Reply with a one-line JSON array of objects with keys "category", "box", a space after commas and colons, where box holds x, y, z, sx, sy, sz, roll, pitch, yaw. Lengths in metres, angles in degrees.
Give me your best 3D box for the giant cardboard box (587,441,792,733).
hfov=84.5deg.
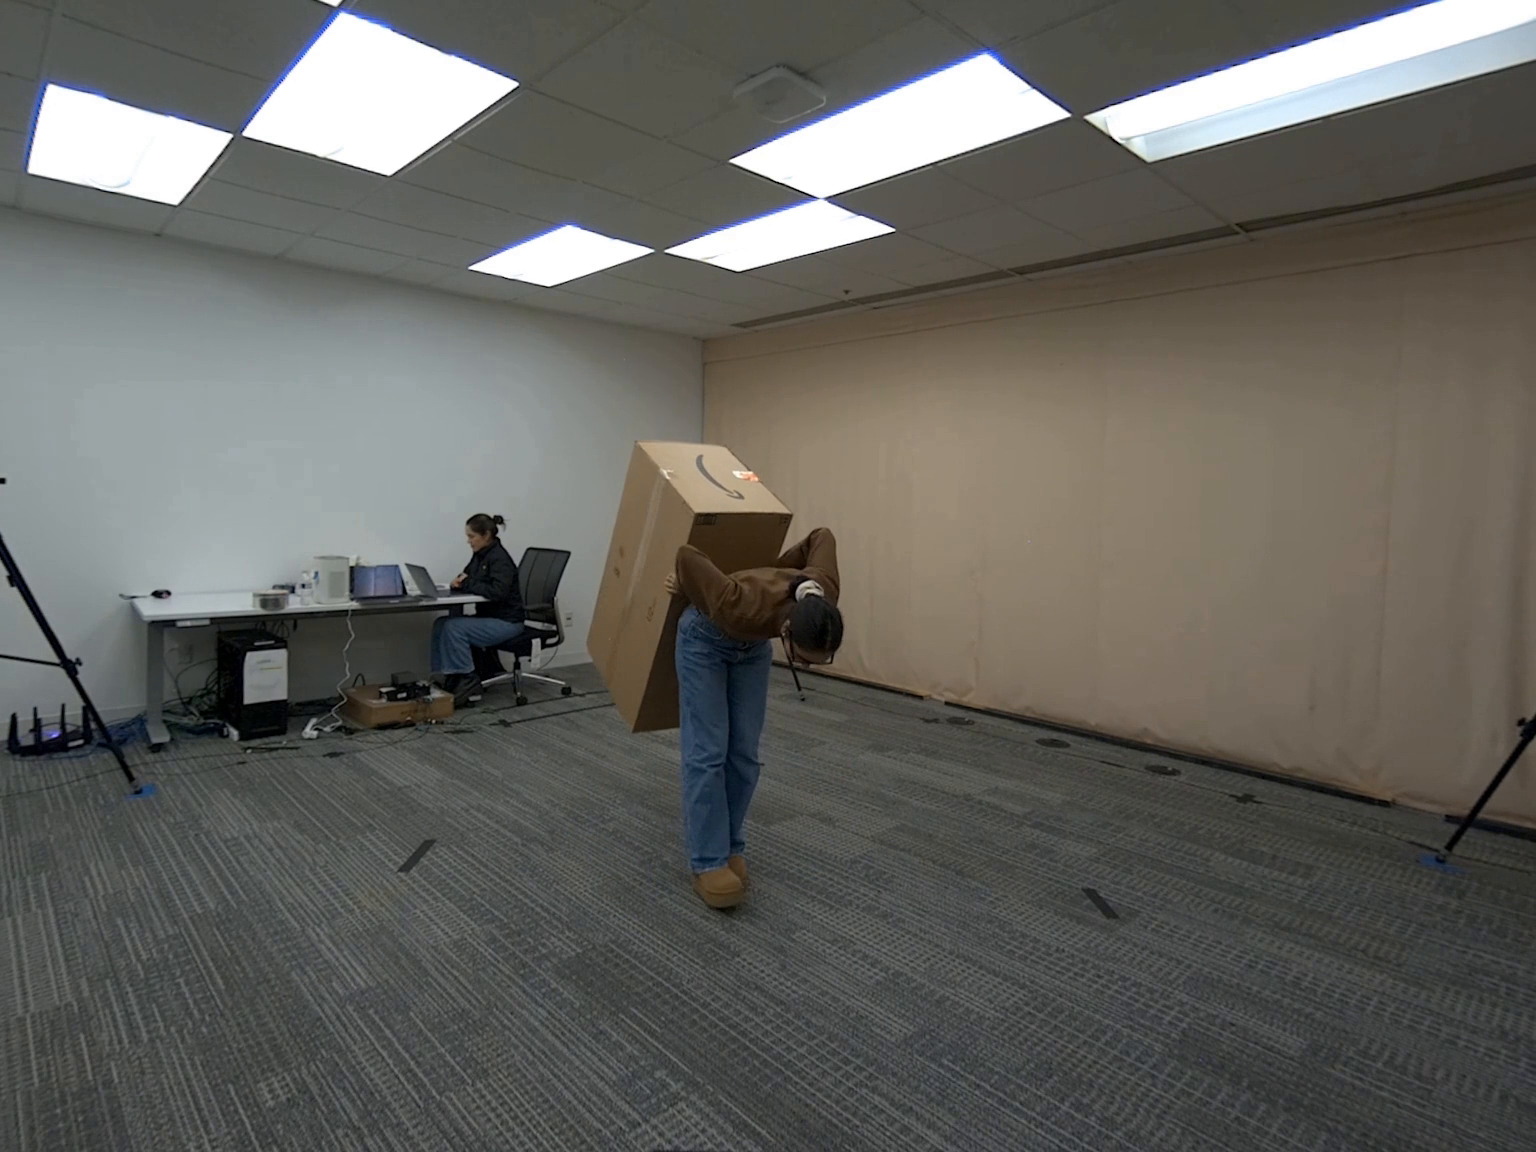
[{"category": "giant cardboard box", "box": [-0.367, 0.046, 3.447, 0.437, 1.015, 0.603, -2, 34, -34]}]
